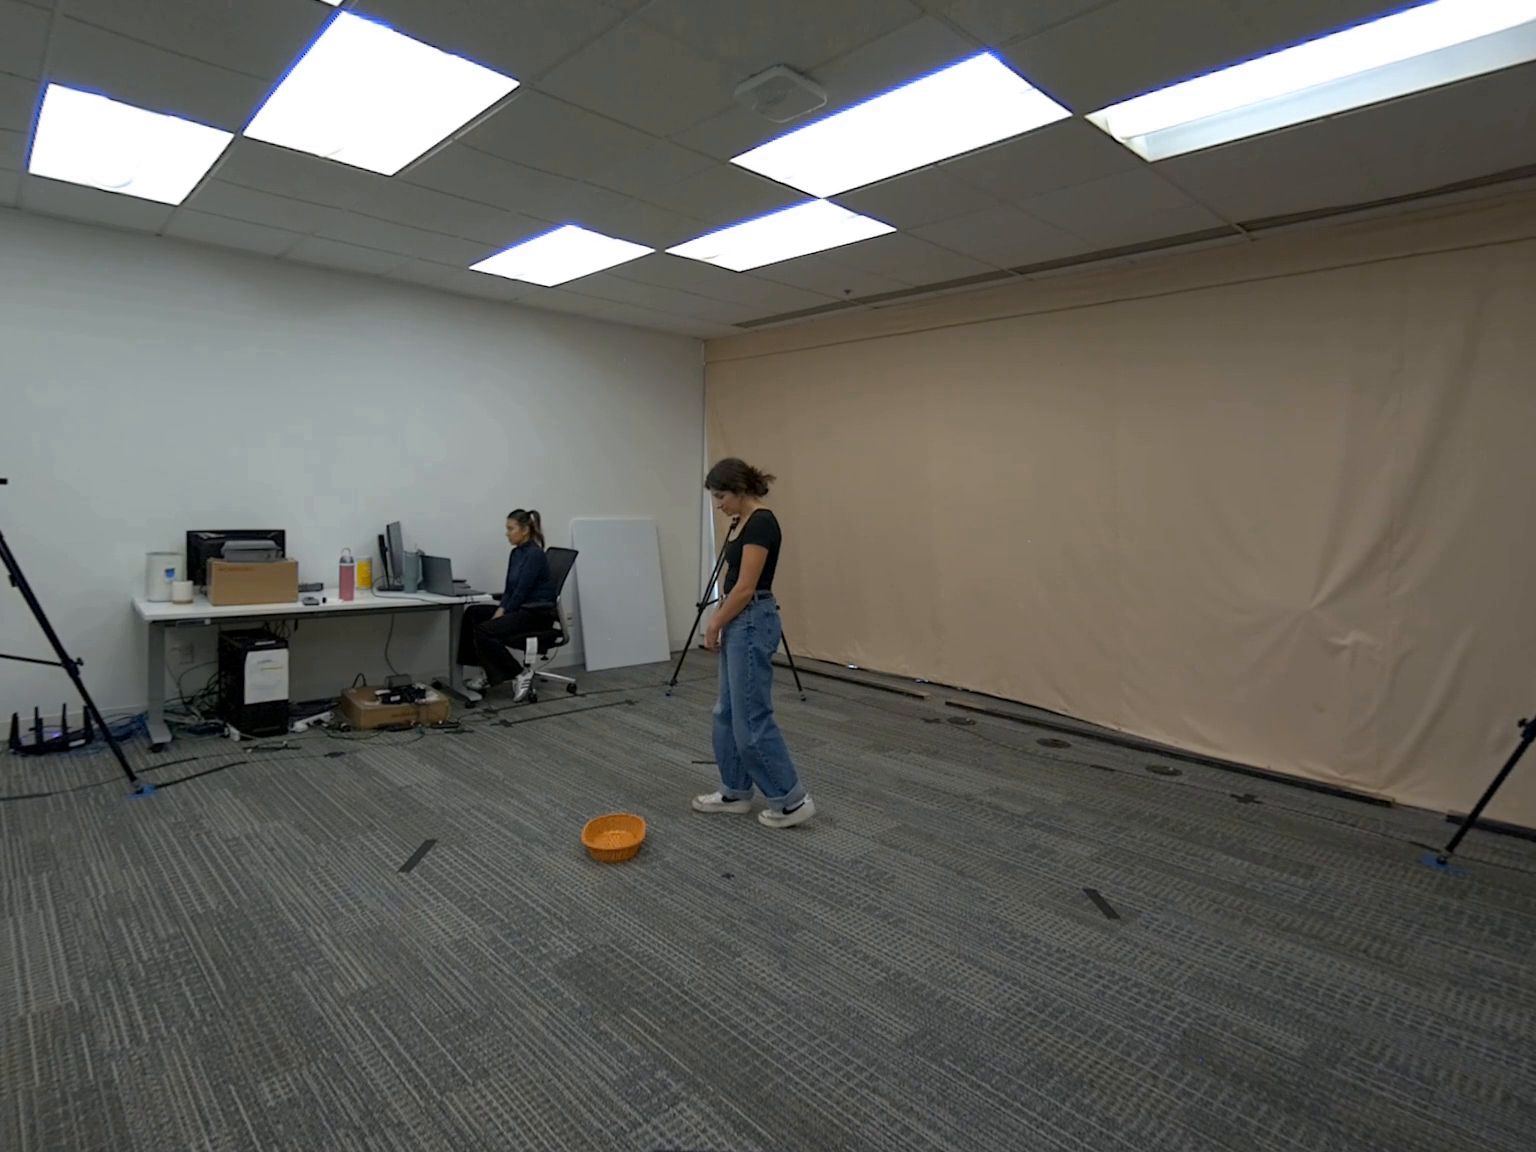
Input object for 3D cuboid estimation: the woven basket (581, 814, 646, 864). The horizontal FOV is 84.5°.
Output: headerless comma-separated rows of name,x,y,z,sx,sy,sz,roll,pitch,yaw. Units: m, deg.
woven basket,-0.618,1.040,3.327,0.252,0.073,0.352,0,6,-3
